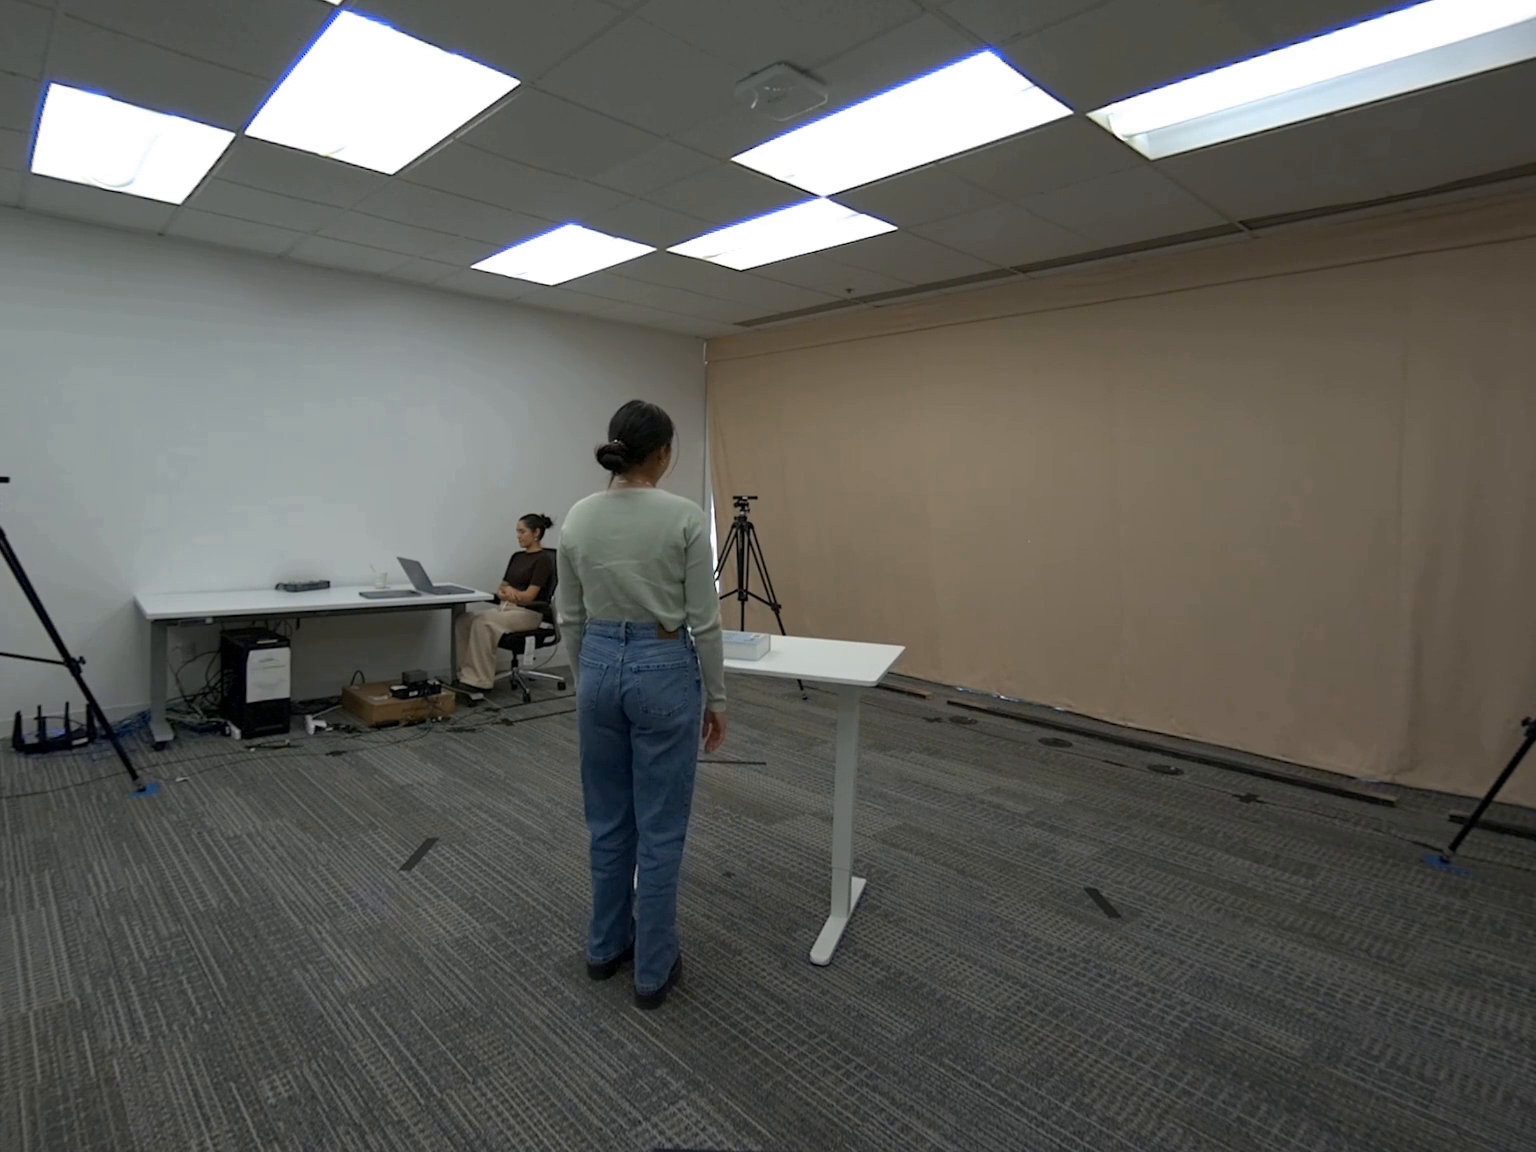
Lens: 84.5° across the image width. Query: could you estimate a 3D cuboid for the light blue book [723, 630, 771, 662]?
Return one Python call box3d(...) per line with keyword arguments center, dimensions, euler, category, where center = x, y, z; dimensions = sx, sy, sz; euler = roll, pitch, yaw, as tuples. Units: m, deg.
box3d(center=(-0.144, 0.227, 2.754), dimensions=(0.264, 0.059, 0.190), euler=(3, 7, 15), category="light blue book")
